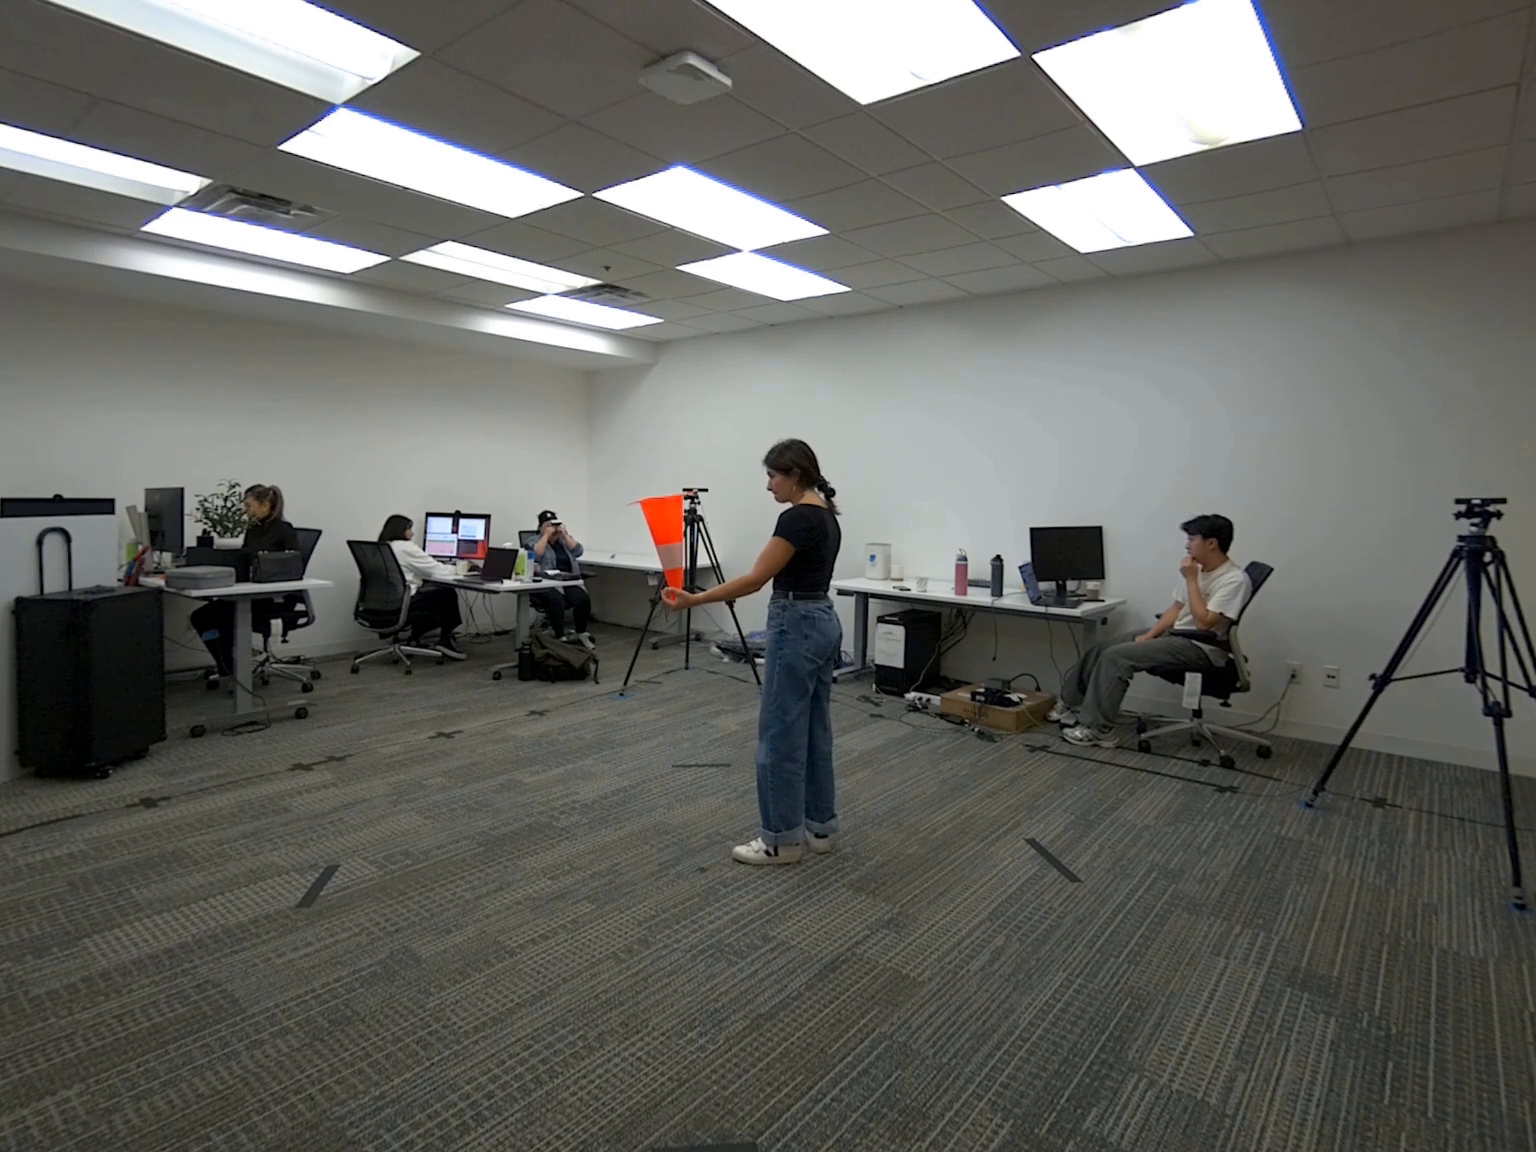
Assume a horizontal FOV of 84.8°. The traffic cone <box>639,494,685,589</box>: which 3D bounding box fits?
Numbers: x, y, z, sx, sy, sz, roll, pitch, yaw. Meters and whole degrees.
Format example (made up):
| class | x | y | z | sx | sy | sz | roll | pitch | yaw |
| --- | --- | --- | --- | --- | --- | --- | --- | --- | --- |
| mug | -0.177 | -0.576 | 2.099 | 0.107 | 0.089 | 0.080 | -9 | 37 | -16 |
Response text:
| class | x | y | z | sx | sy | sz | roll | pitch | yaw |
| --- | --- | --- | --- | --- | --- | --- | --- | --- | --- |
| traffic cone | -0.366 | -0.098 | 3.067 | 0.199 | 0.382 | 0.210 | -11 | 4 | -25 |
